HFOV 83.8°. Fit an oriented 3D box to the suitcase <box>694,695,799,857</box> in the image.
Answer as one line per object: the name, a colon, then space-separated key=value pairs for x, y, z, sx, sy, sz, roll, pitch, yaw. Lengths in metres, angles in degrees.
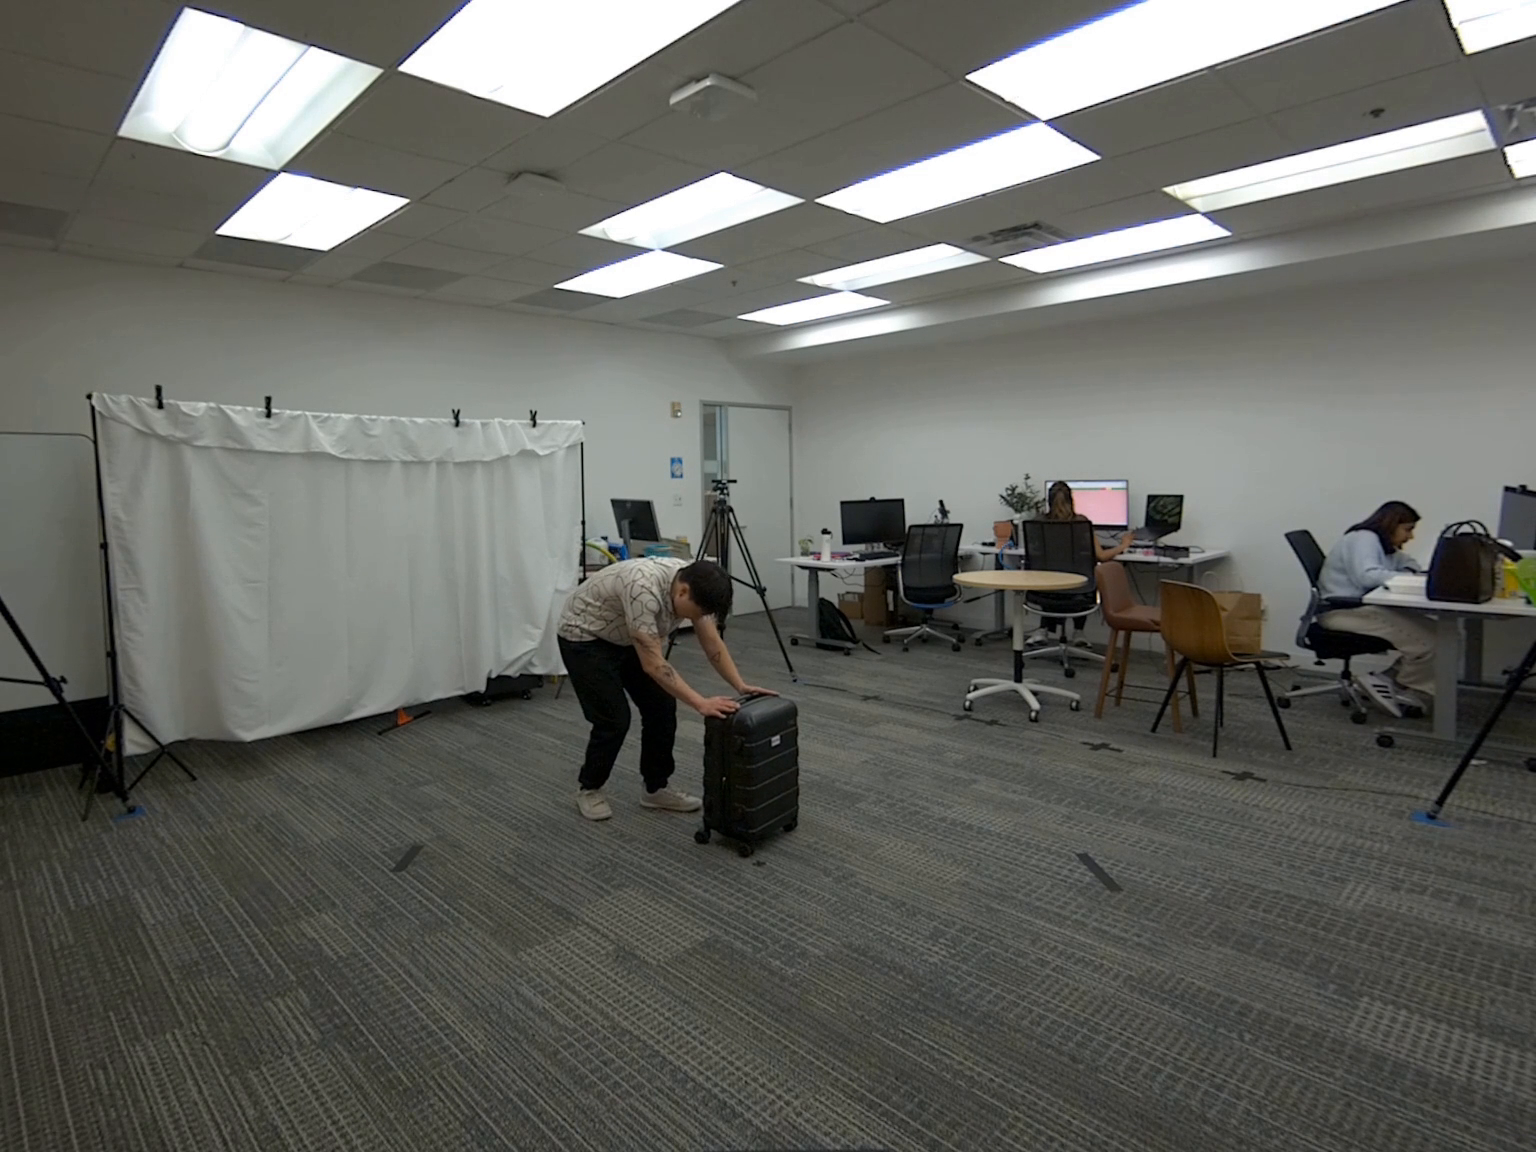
suitcase: x=-0.064 y=0.749 z=3.331 sx=0.256 sy=0.547 sz=0.366 roll=5 pitch=7 yaw=36
